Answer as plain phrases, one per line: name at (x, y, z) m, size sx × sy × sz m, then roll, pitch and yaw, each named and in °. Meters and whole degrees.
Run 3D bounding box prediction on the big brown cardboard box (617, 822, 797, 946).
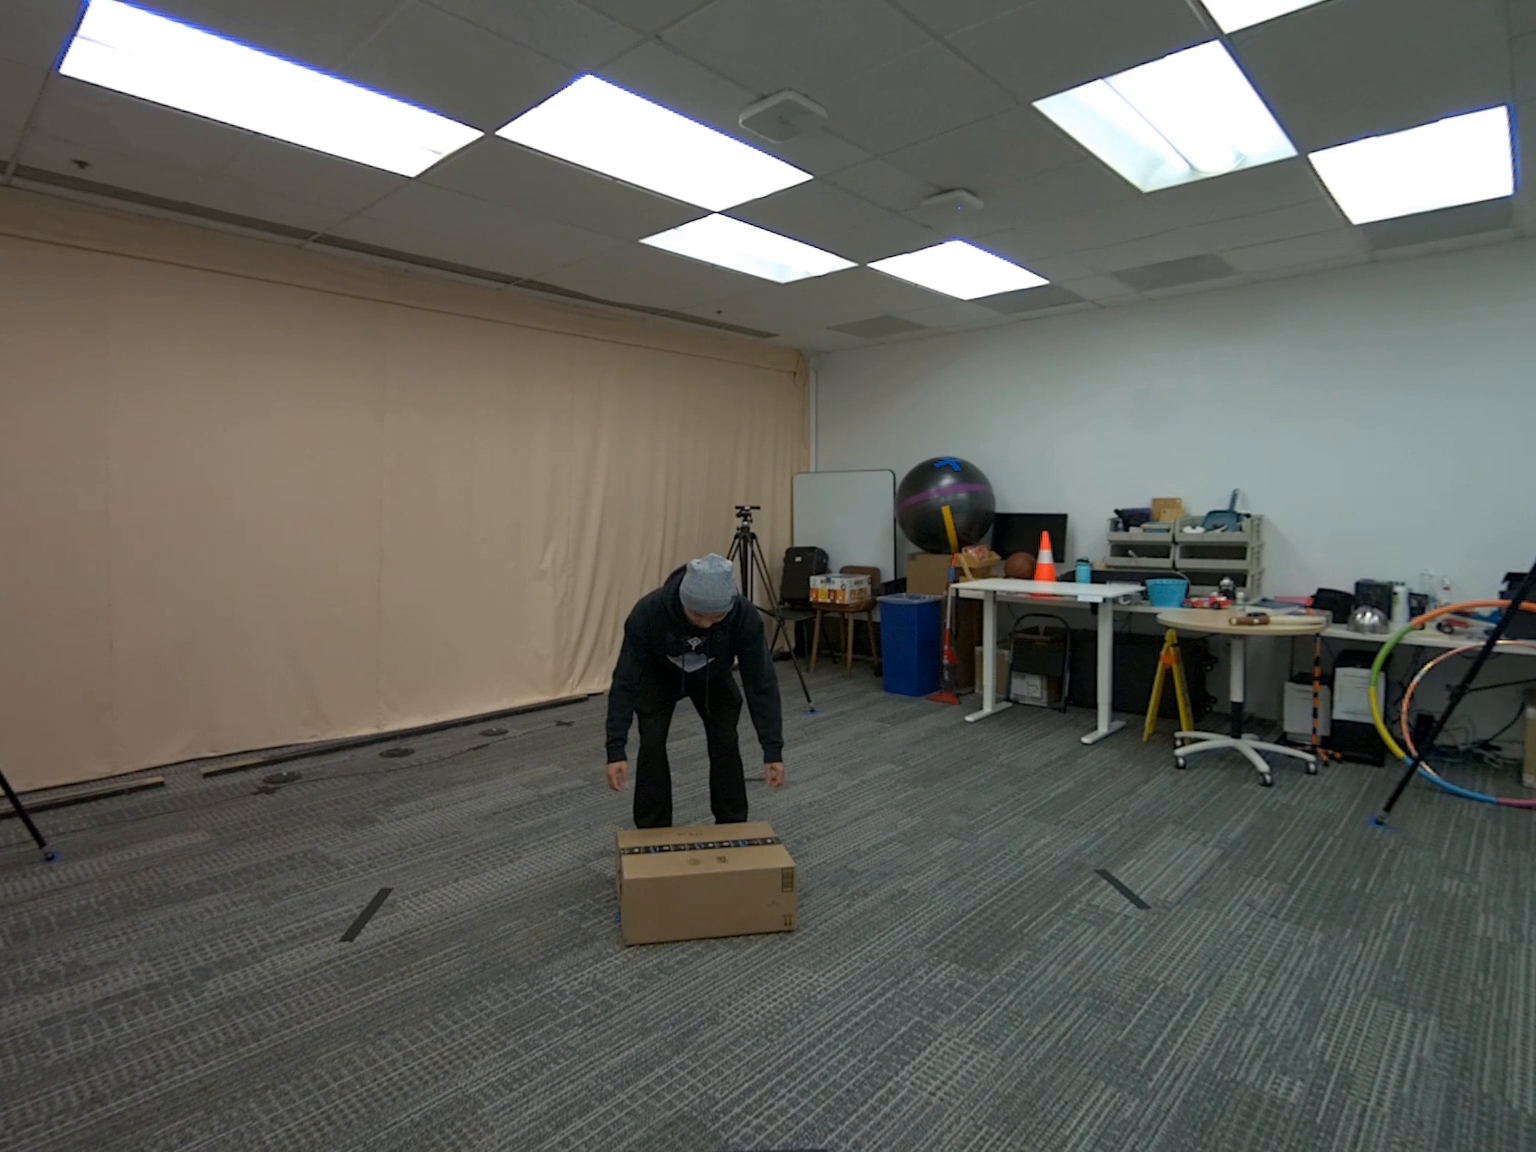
big brown cardboard box at (-0.229, 1.040, 2.900) m, size 0.583 × 0.233 × 0.423 m, roll -2°, pitch 4°, yaw -10°
